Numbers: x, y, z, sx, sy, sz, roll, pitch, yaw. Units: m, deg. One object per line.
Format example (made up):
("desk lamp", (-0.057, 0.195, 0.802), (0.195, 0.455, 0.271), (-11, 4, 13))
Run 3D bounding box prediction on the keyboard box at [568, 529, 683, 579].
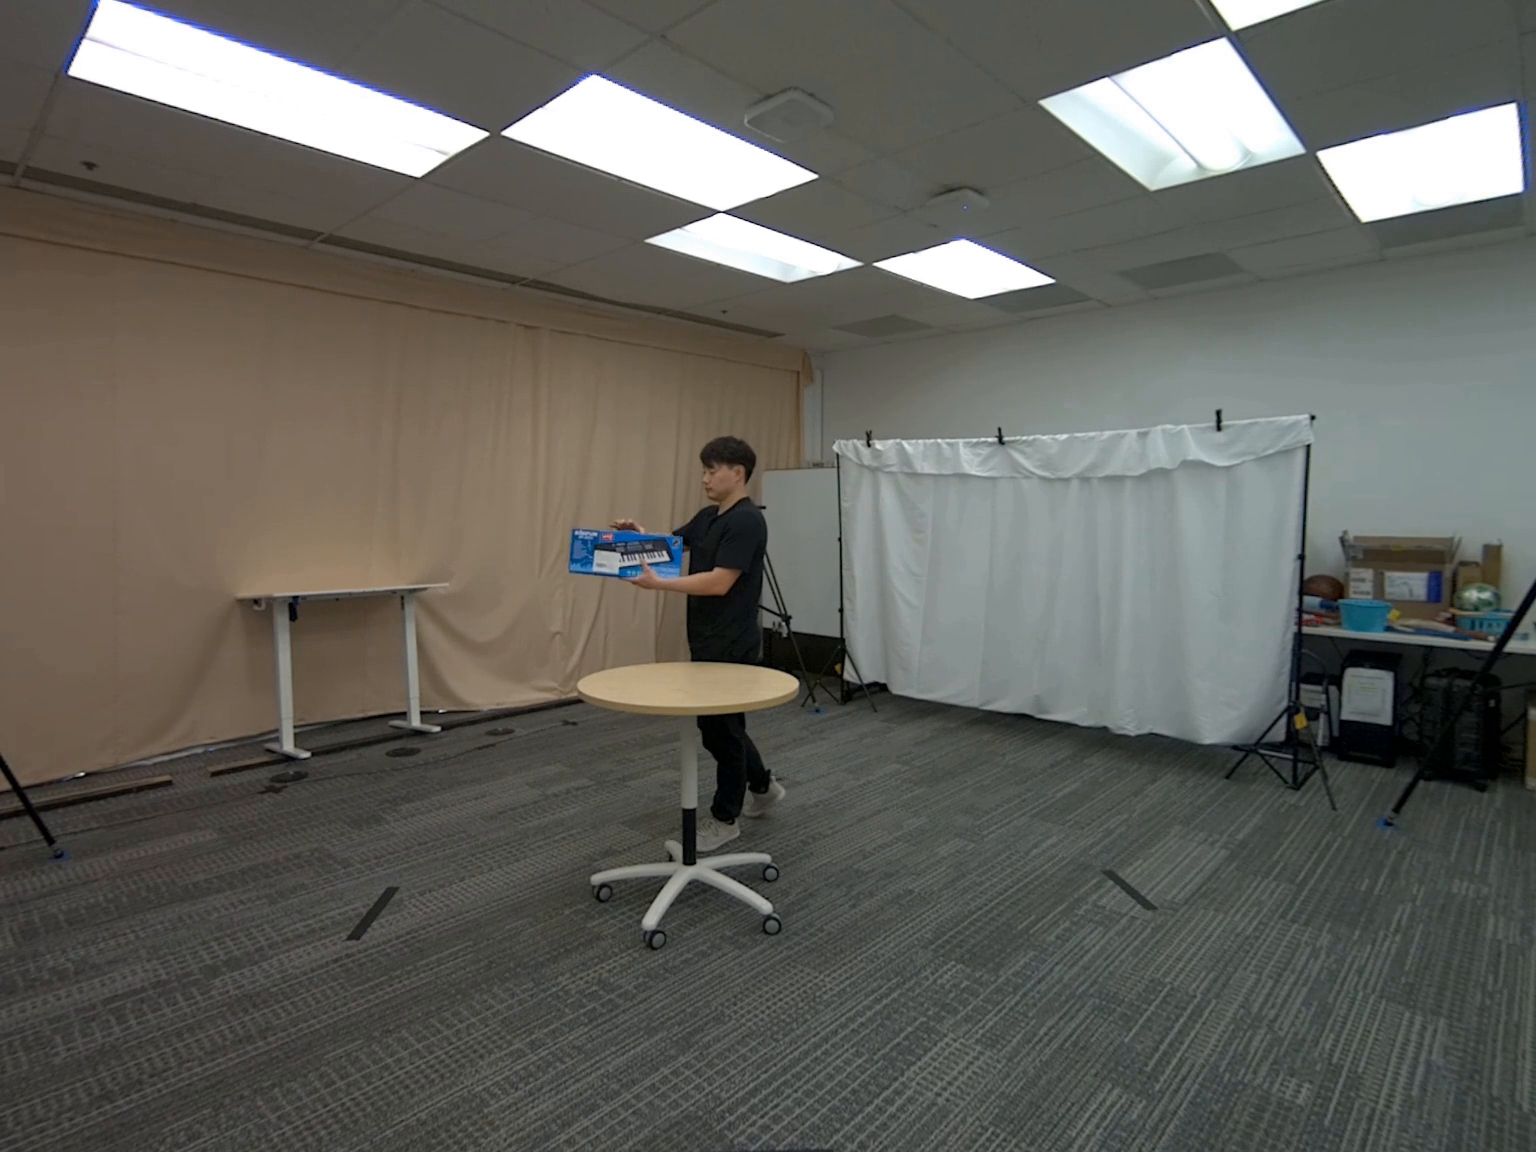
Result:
("keyboard box", (-0.556, -0.077, 3.322), (0.436, 0.176, 0.059), (5, -7, -2))
